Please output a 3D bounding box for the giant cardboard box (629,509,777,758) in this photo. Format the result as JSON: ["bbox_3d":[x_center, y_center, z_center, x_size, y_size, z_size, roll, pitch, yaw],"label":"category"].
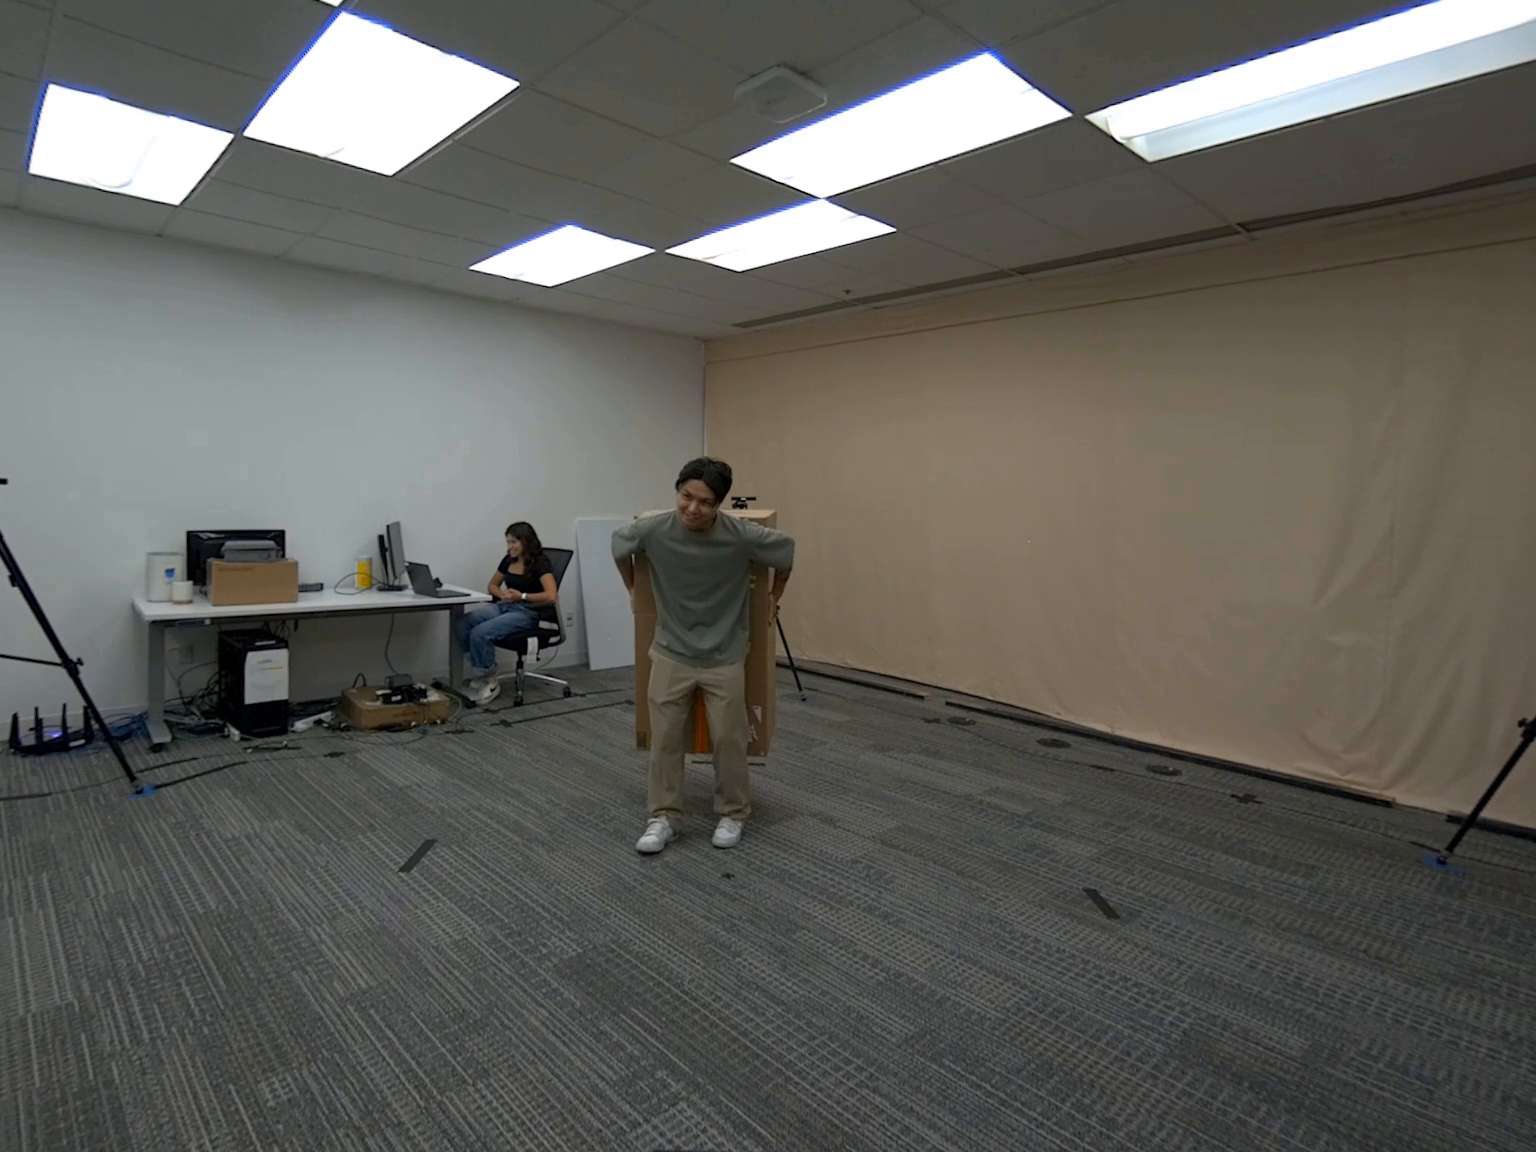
[{"bbox_3d":[-0.271,0.235,3.759,0.580,1.021,0.426,1,6,6],"label":"giant cardboard box"}]
